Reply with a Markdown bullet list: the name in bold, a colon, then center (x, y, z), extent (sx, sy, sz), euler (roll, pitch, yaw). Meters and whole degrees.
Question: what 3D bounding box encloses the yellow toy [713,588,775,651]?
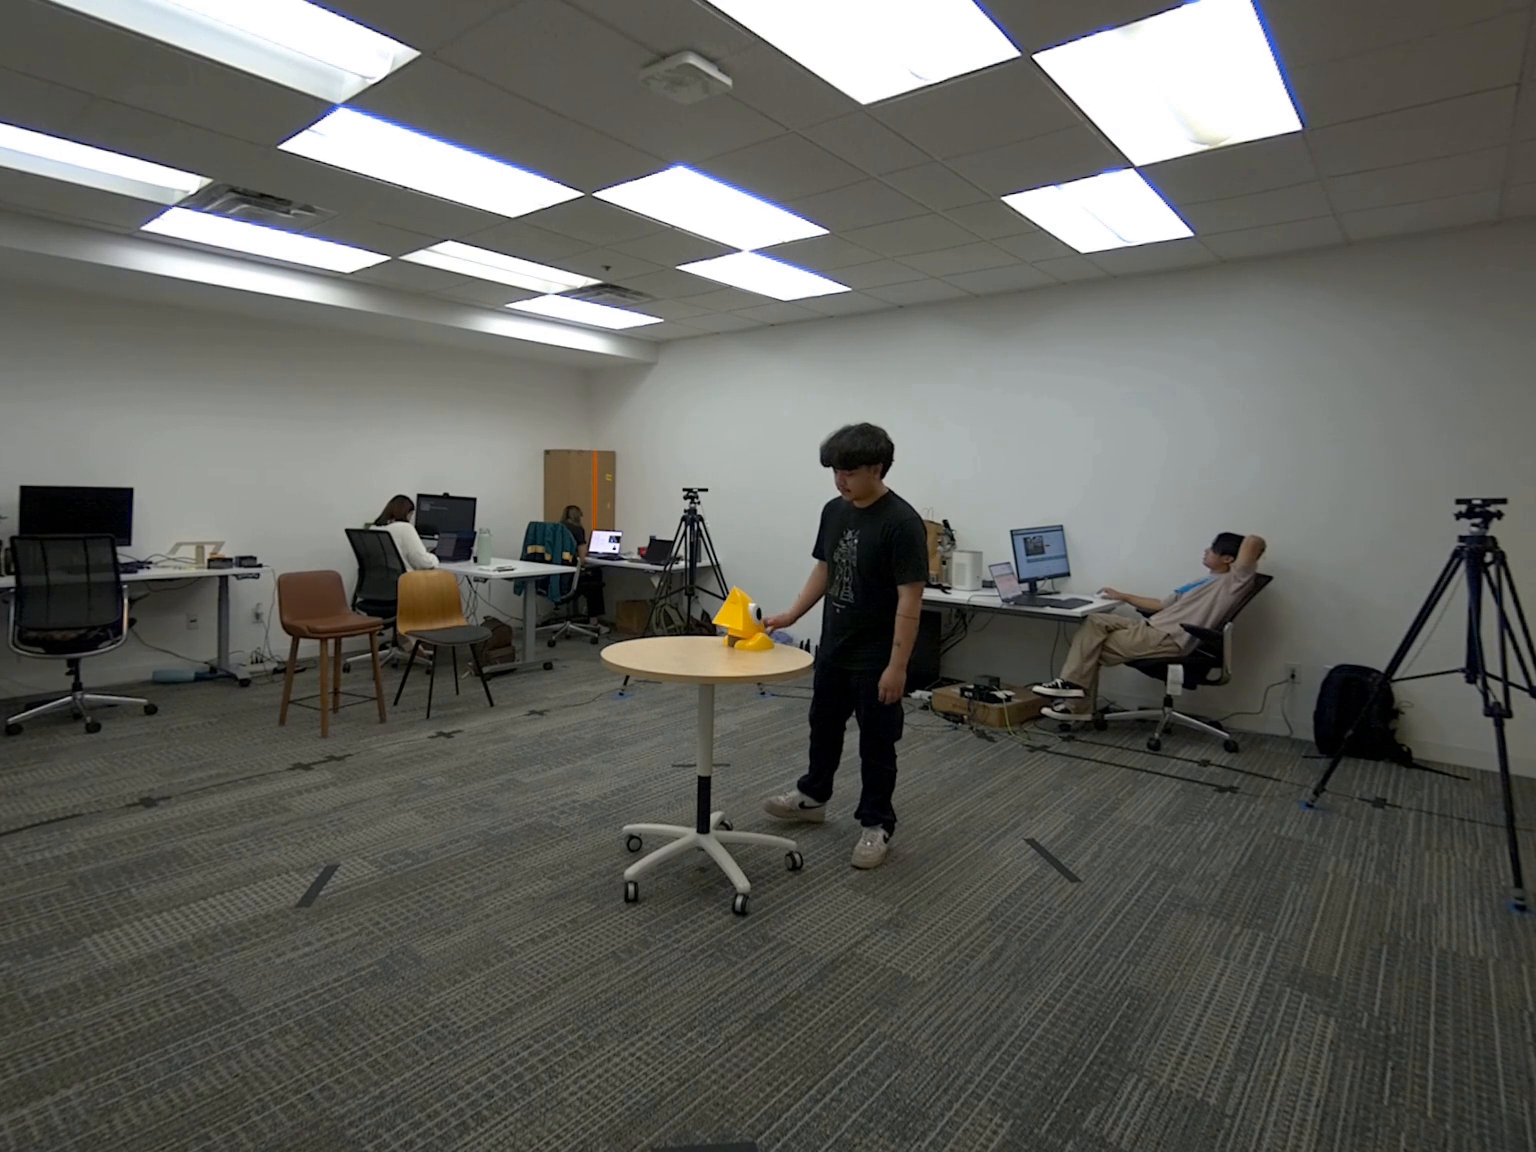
- **yellow toy**: center (-0.093, 0.150, 3.277), extent (0.187, 0.230, 0.211), euler (-1, 3, -36)
